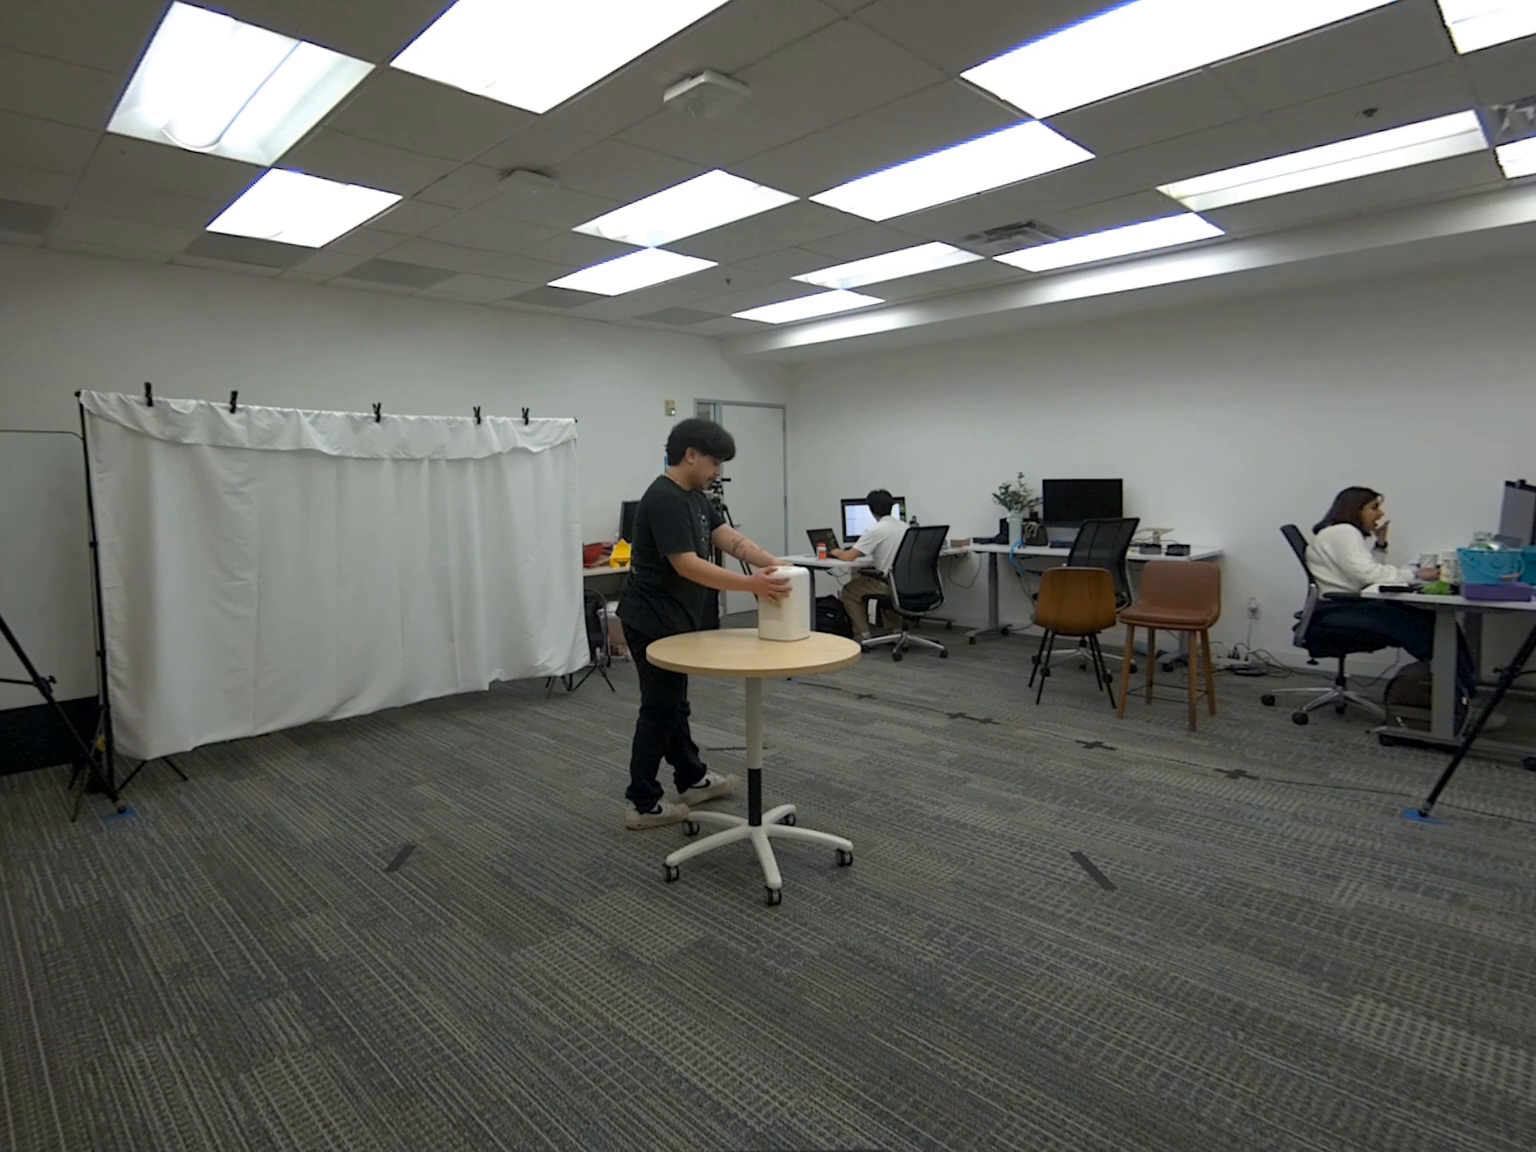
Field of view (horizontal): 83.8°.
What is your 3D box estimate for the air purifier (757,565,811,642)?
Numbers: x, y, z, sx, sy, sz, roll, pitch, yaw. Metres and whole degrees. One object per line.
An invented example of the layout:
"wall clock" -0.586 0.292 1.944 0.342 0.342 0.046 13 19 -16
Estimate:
"air purifier" 0.059 0.103 3.241 0.176 0.265 0.167 2 3 34
